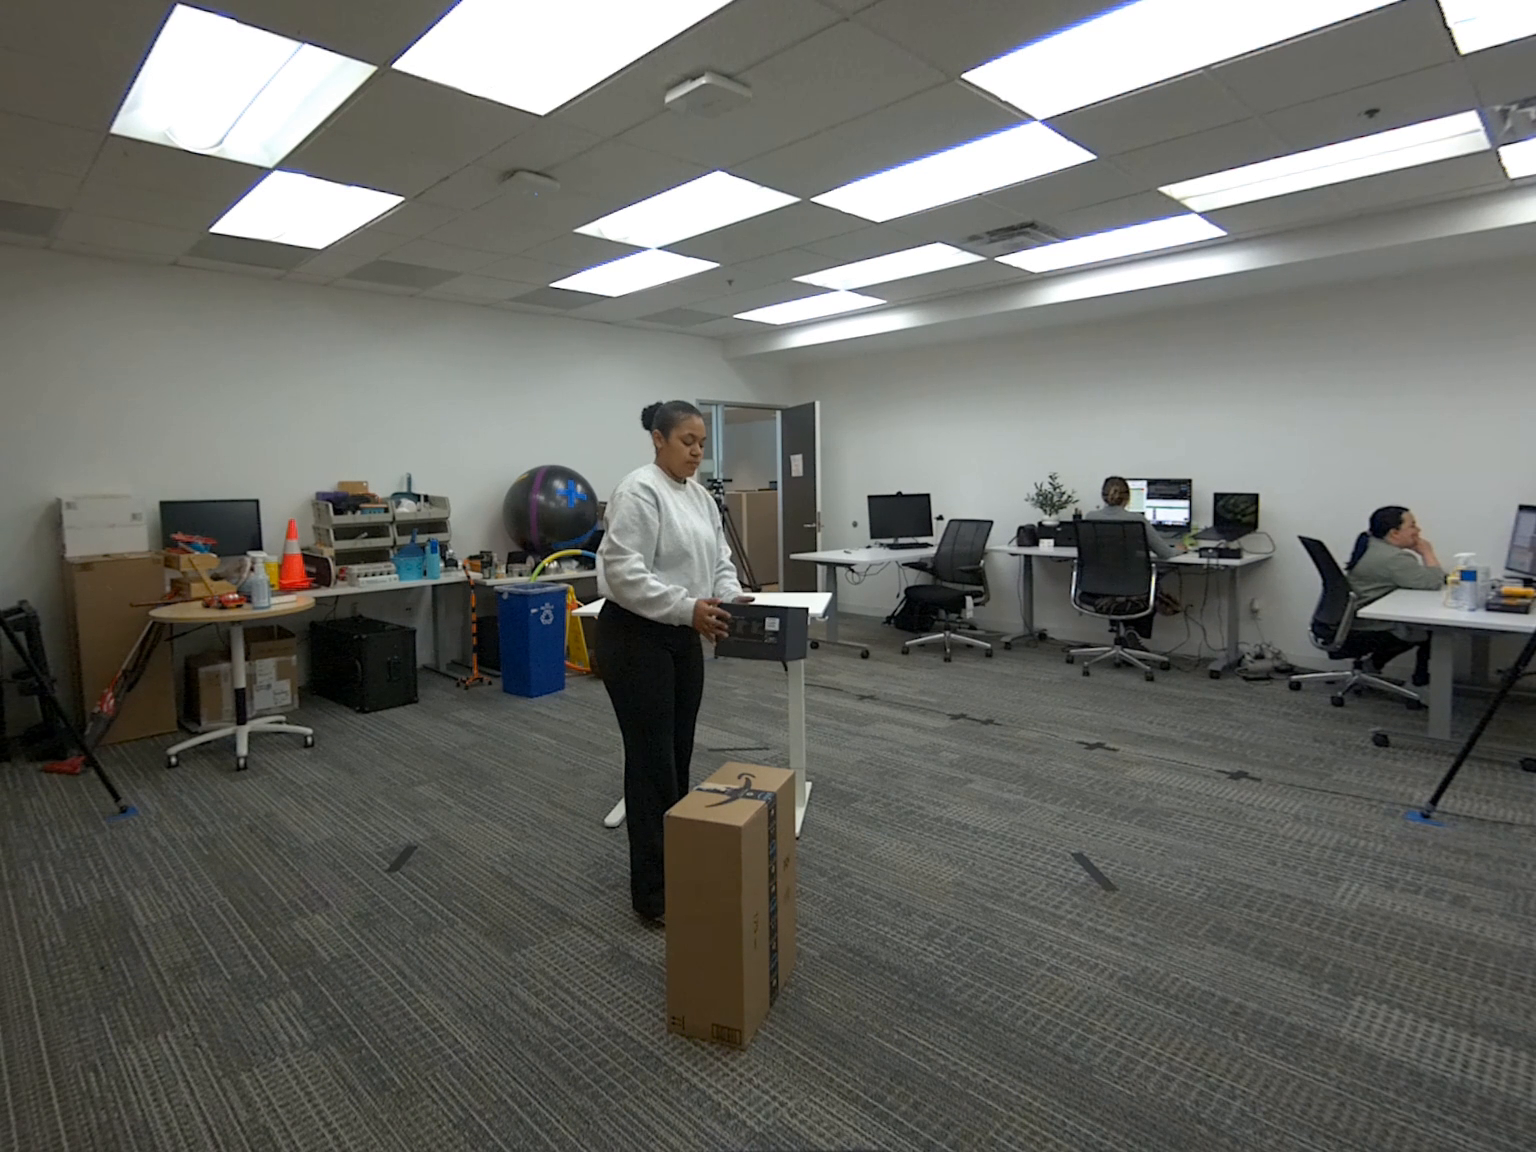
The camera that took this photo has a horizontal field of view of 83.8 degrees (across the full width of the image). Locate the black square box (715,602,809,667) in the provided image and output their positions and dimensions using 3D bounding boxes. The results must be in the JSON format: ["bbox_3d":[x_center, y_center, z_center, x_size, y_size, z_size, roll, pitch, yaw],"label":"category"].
[{"bbox_3d":[-0.011,0.155,2.534,0.221,0.156,0.222,2,-4,21],"label":"black square box"}]
